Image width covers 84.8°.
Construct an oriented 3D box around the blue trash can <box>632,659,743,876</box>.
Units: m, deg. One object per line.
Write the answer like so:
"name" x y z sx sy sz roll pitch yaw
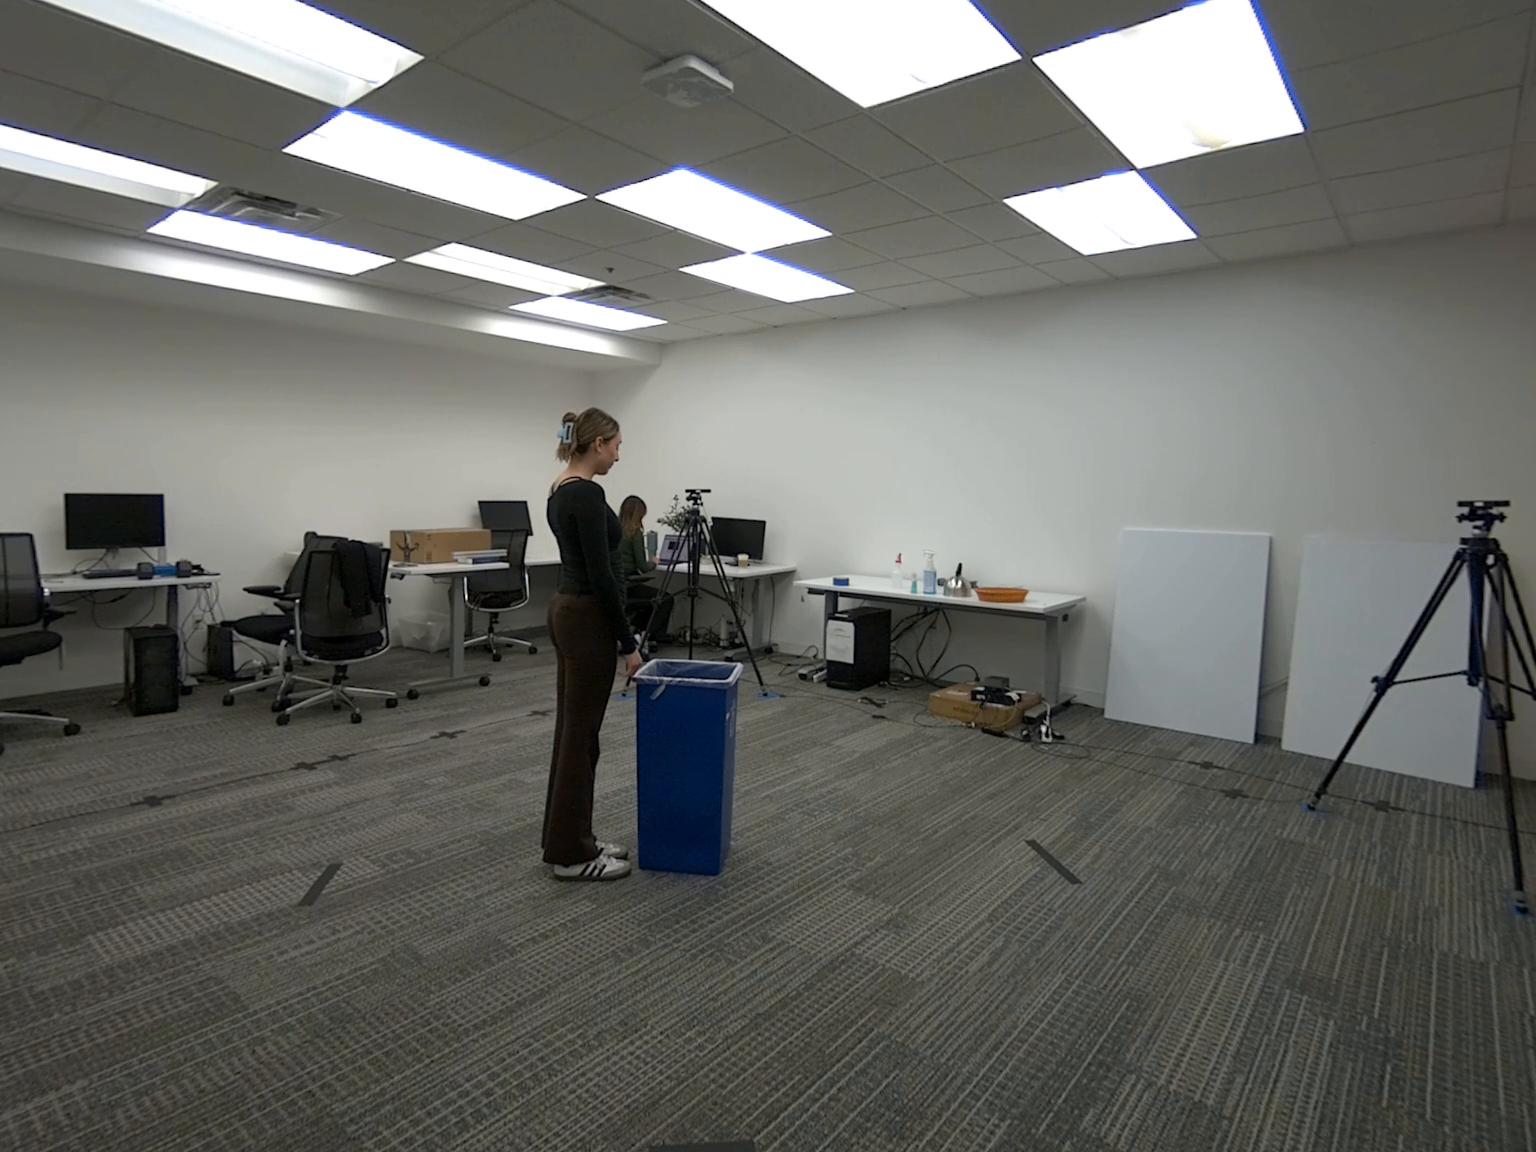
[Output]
"blue trash can" -0.319 0.705 3.221 0.382 0.711 0.372 2 3 8
